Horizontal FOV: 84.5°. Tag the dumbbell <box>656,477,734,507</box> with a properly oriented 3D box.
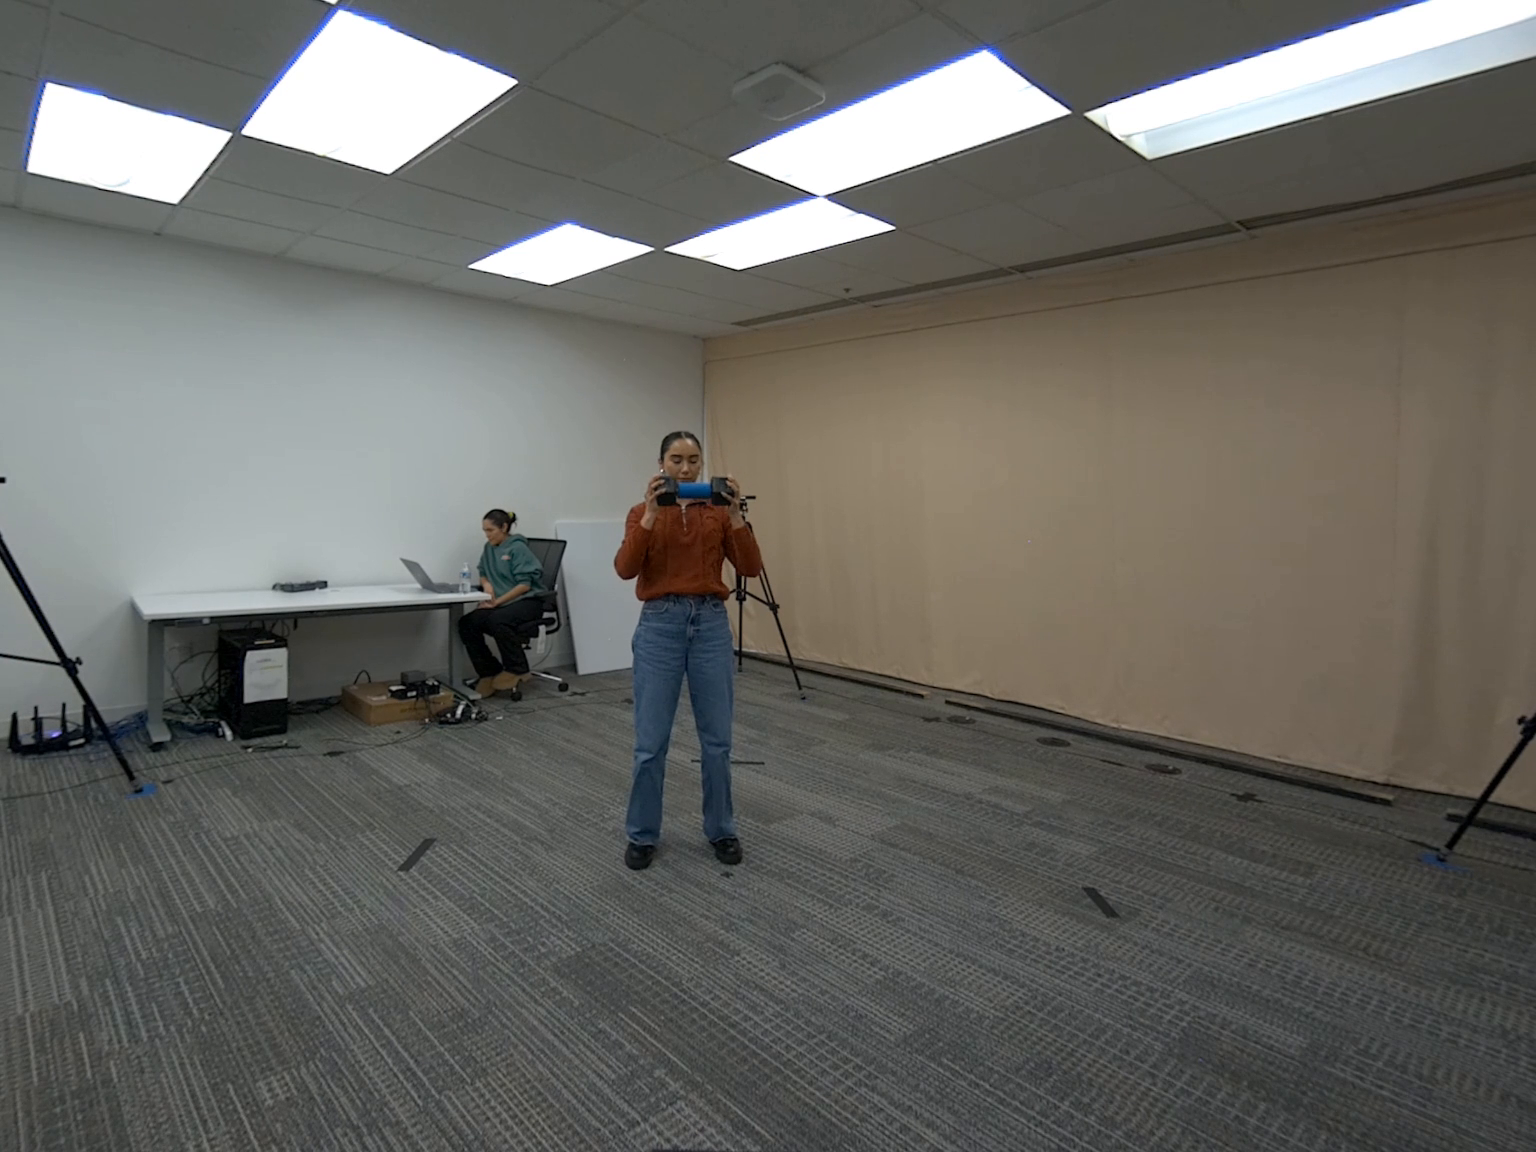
[{"bbox_3d":[-0.278,-0.319,3.110,0.291,0.125,0.107,0,-25,-9],"label":"dumbbell"}]
